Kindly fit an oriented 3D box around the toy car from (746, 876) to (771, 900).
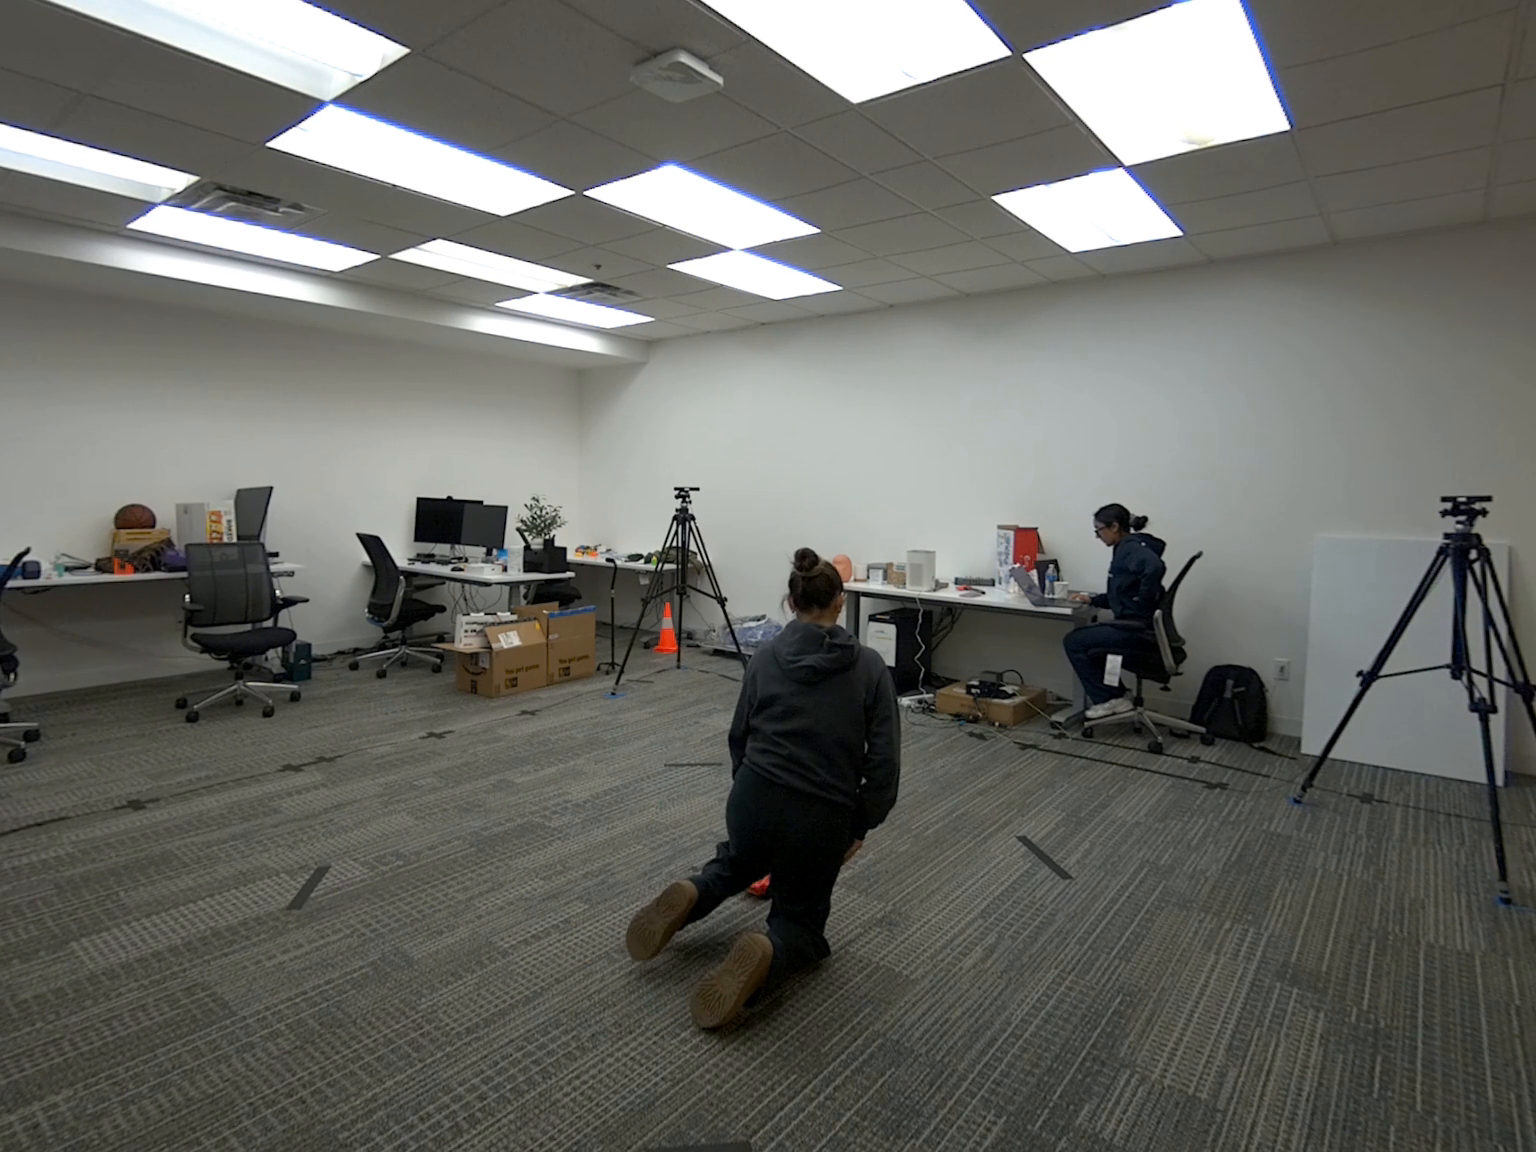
[{"bbox_3d":[0.012,1.053,2.964,0.135,0.083,0.245,5,-5,44],"label":"toy car"}]
